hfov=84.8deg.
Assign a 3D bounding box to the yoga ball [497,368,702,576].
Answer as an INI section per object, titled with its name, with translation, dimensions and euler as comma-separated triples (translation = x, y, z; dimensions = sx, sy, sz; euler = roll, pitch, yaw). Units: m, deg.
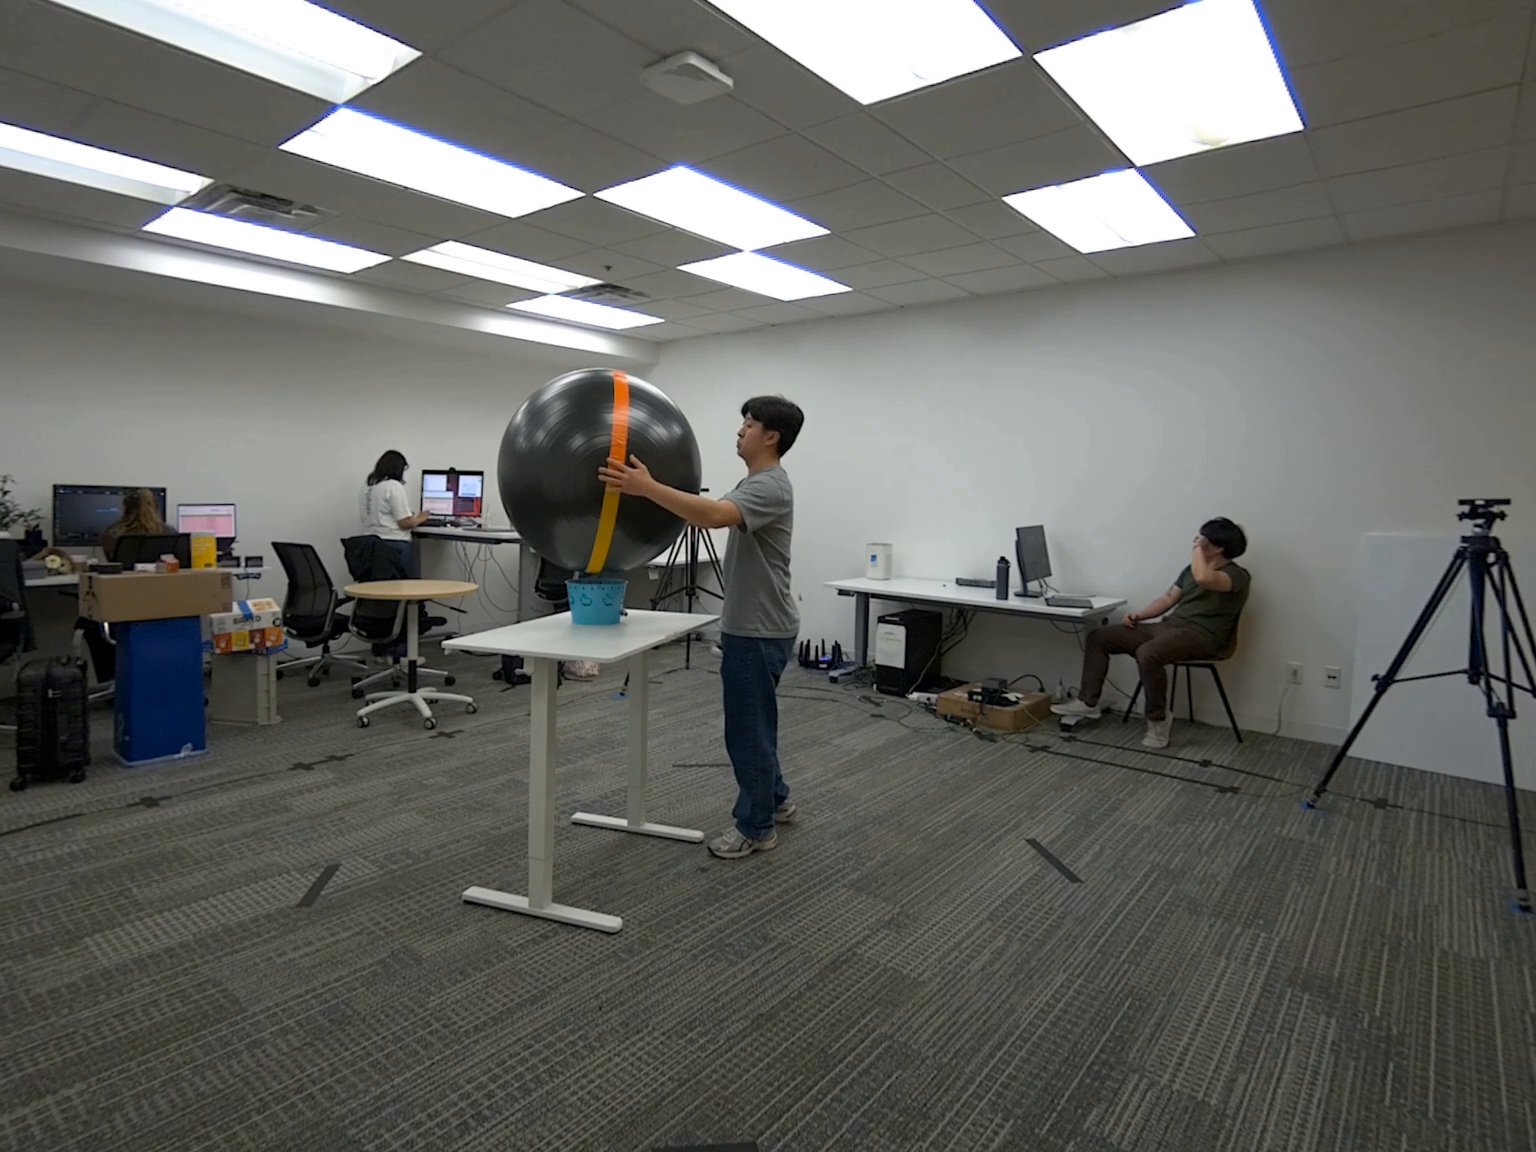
[yoga ball]
translation = -0.642, -0.388, 3.180
dimensions = 0.757, 0.755, 0.762
euler = 1, 4, -2
